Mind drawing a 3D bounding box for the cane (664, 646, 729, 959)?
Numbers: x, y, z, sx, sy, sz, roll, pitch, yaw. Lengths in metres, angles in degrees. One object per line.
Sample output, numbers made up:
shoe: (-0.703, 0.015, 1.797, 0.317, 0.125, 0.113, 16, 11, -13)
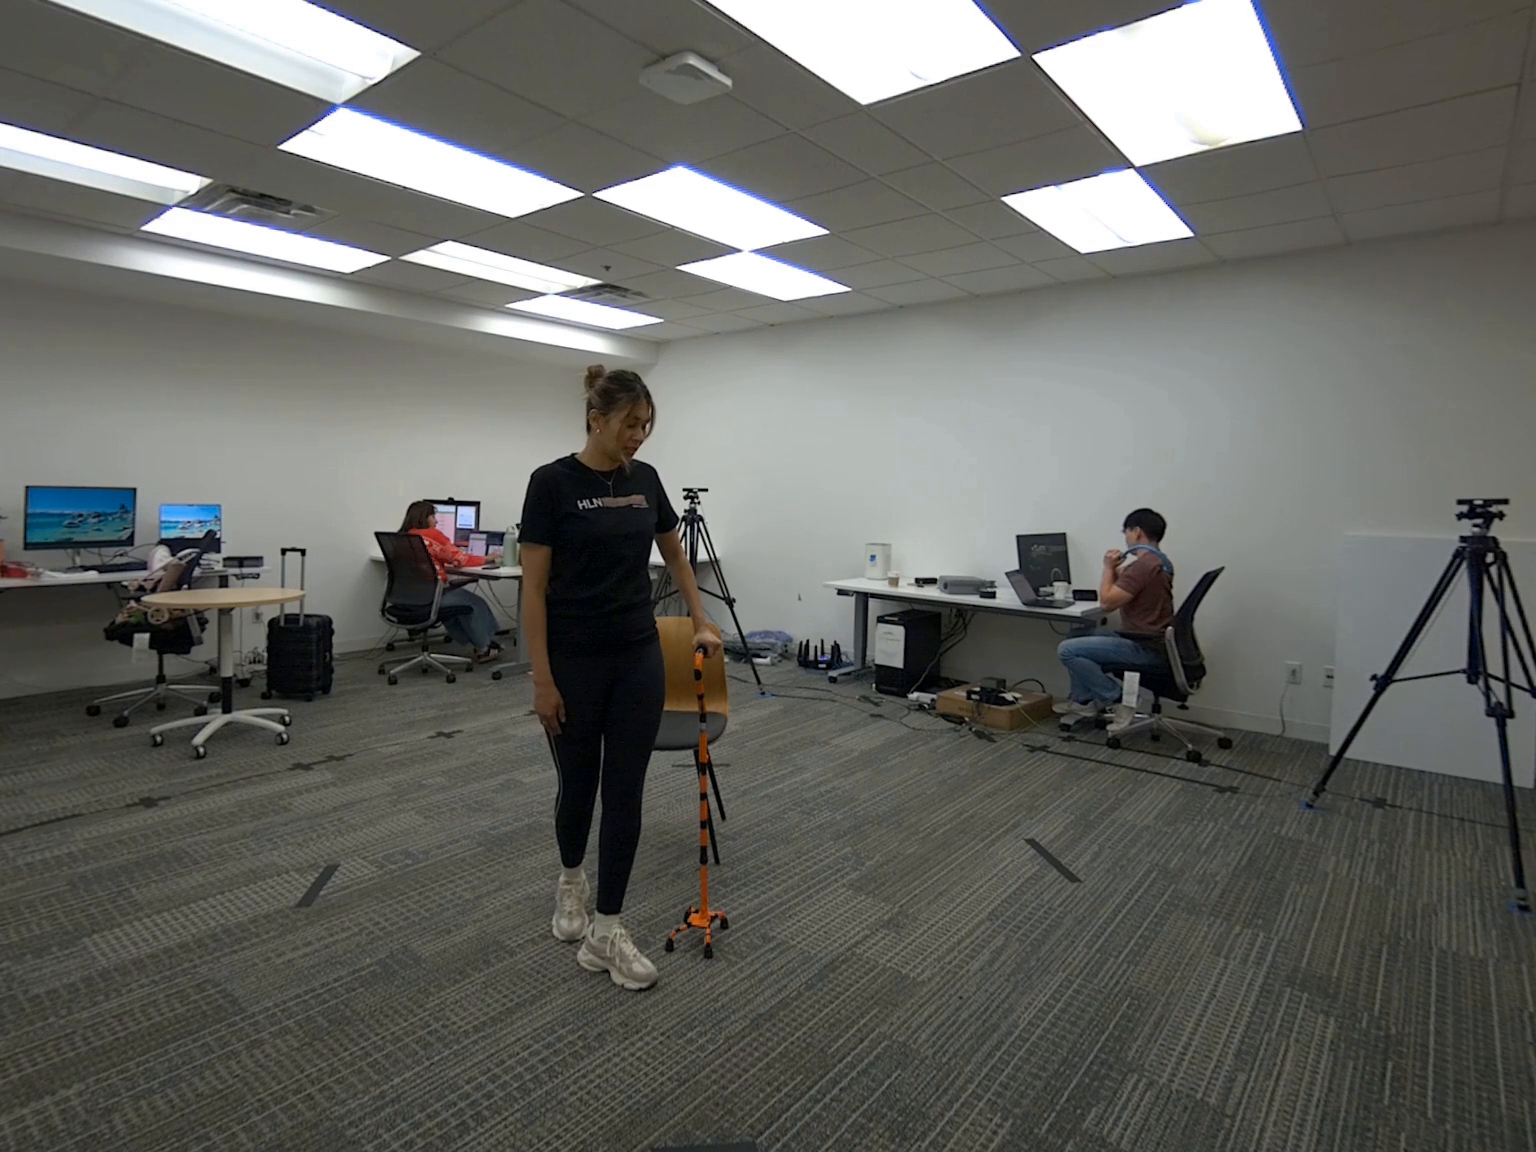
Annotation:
cane: (-0.221, 0.662, 2.605, 0.154, 0.906, 0.203, 1, 2, 15)
